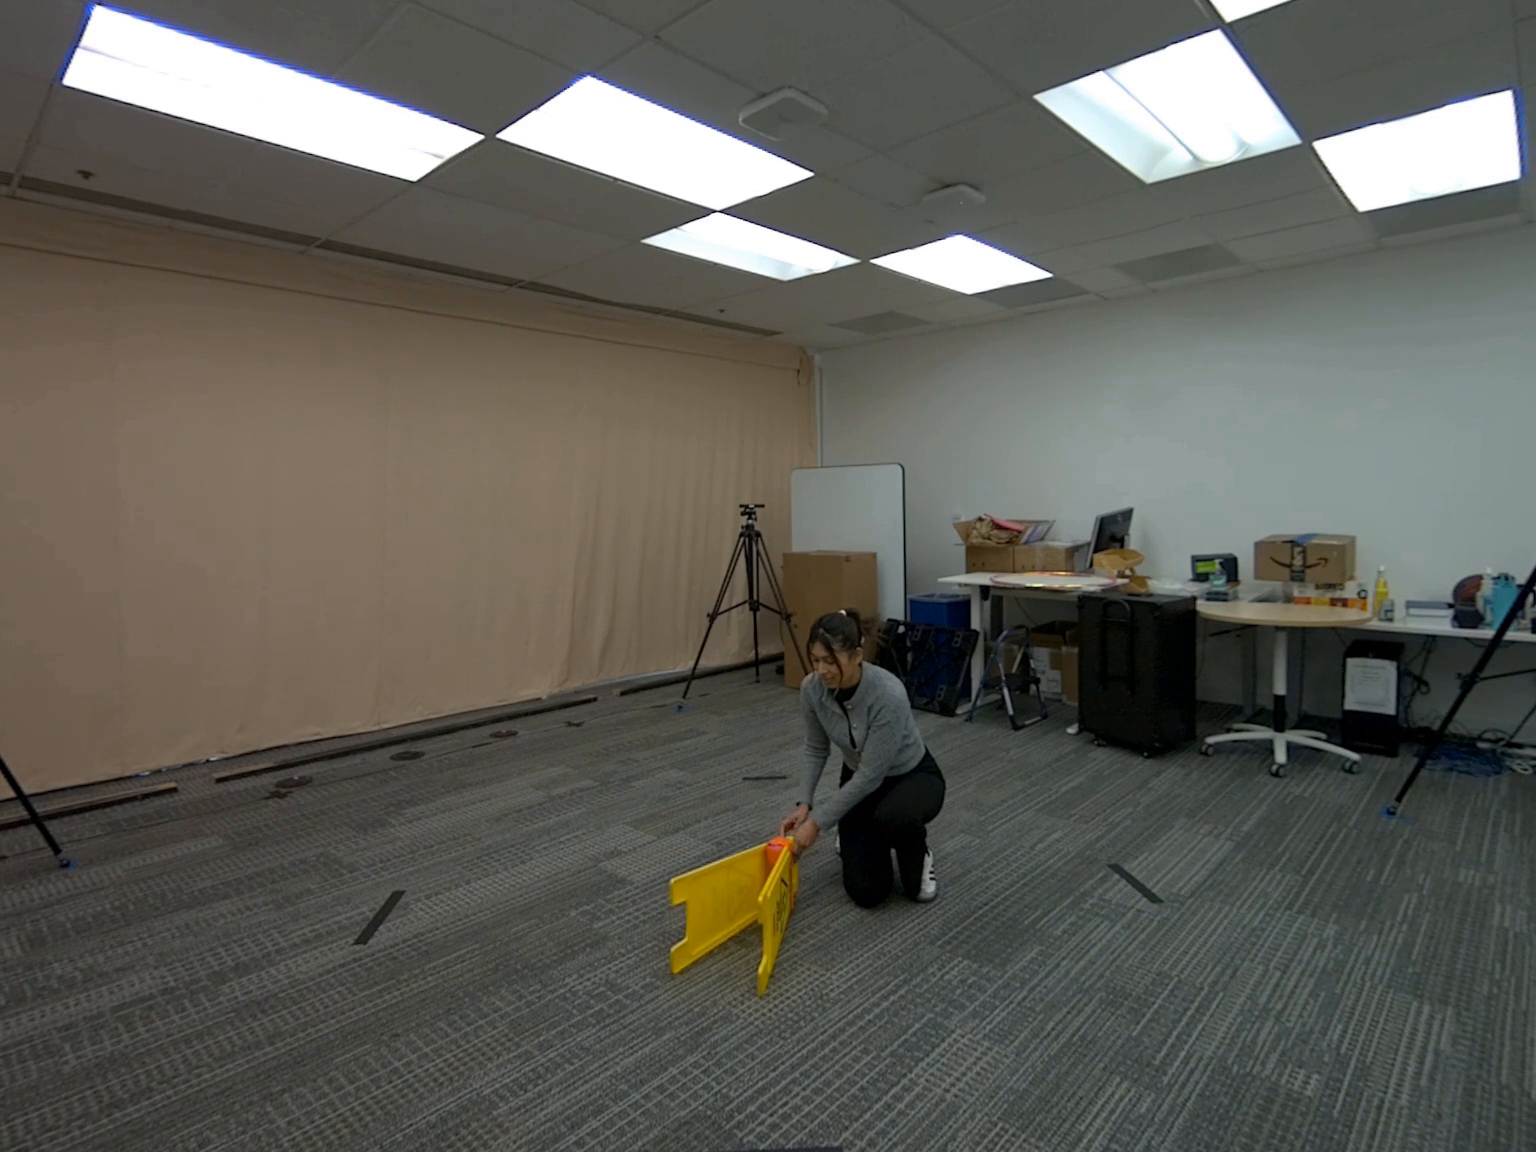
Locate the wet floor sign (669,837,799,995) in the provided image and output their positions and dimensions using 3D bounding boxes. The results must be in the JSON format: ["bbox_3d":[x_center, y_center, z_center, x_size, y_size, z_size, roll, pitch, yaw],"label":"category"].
[{"bbox_3d":[-0.027,1.040,2.723,0.297,0.282,0.630,0,1,25],"label":"wet floor sign"}]
